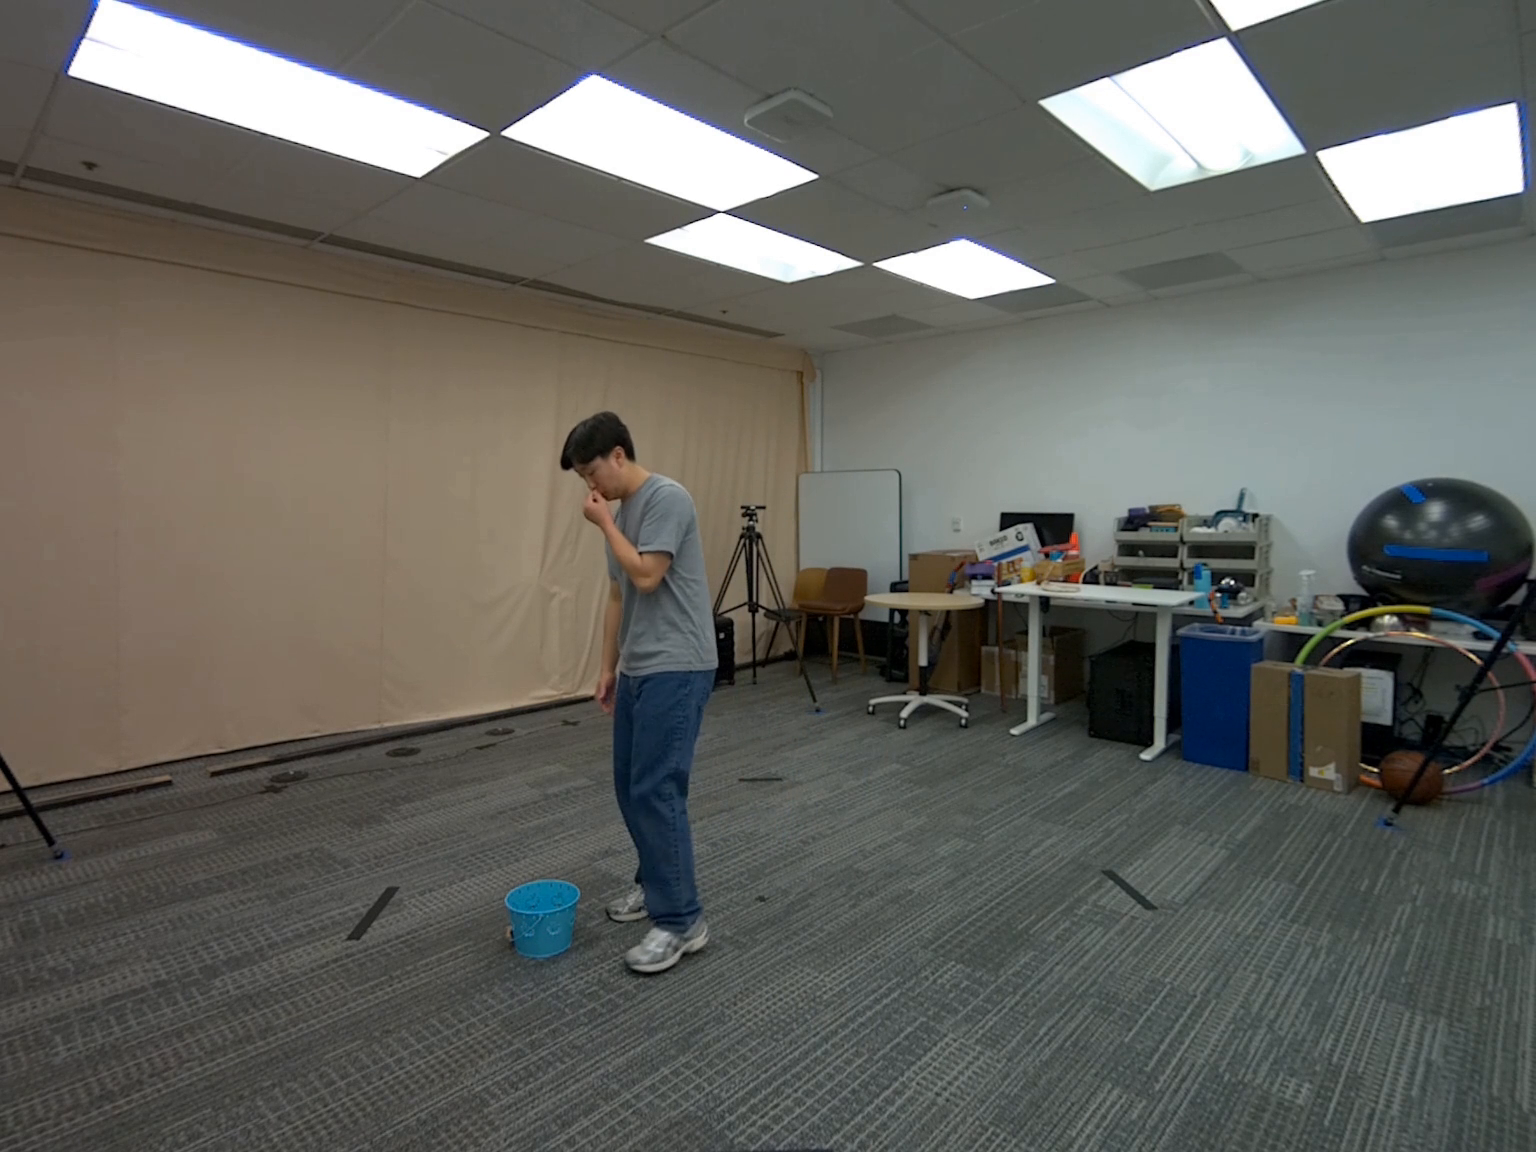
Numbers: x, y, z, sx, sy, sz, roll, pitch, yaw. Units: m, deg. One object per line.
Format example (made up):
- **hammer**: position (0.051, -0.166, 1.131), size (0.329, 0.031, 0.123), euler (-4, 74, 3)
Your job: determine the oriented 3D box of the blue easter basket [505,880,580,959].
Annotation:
- **blue easter basket**: position (-0.722, 1.097, 2.689), size (0.243, 0.155, 0.244), euler (0, 4, -2)
